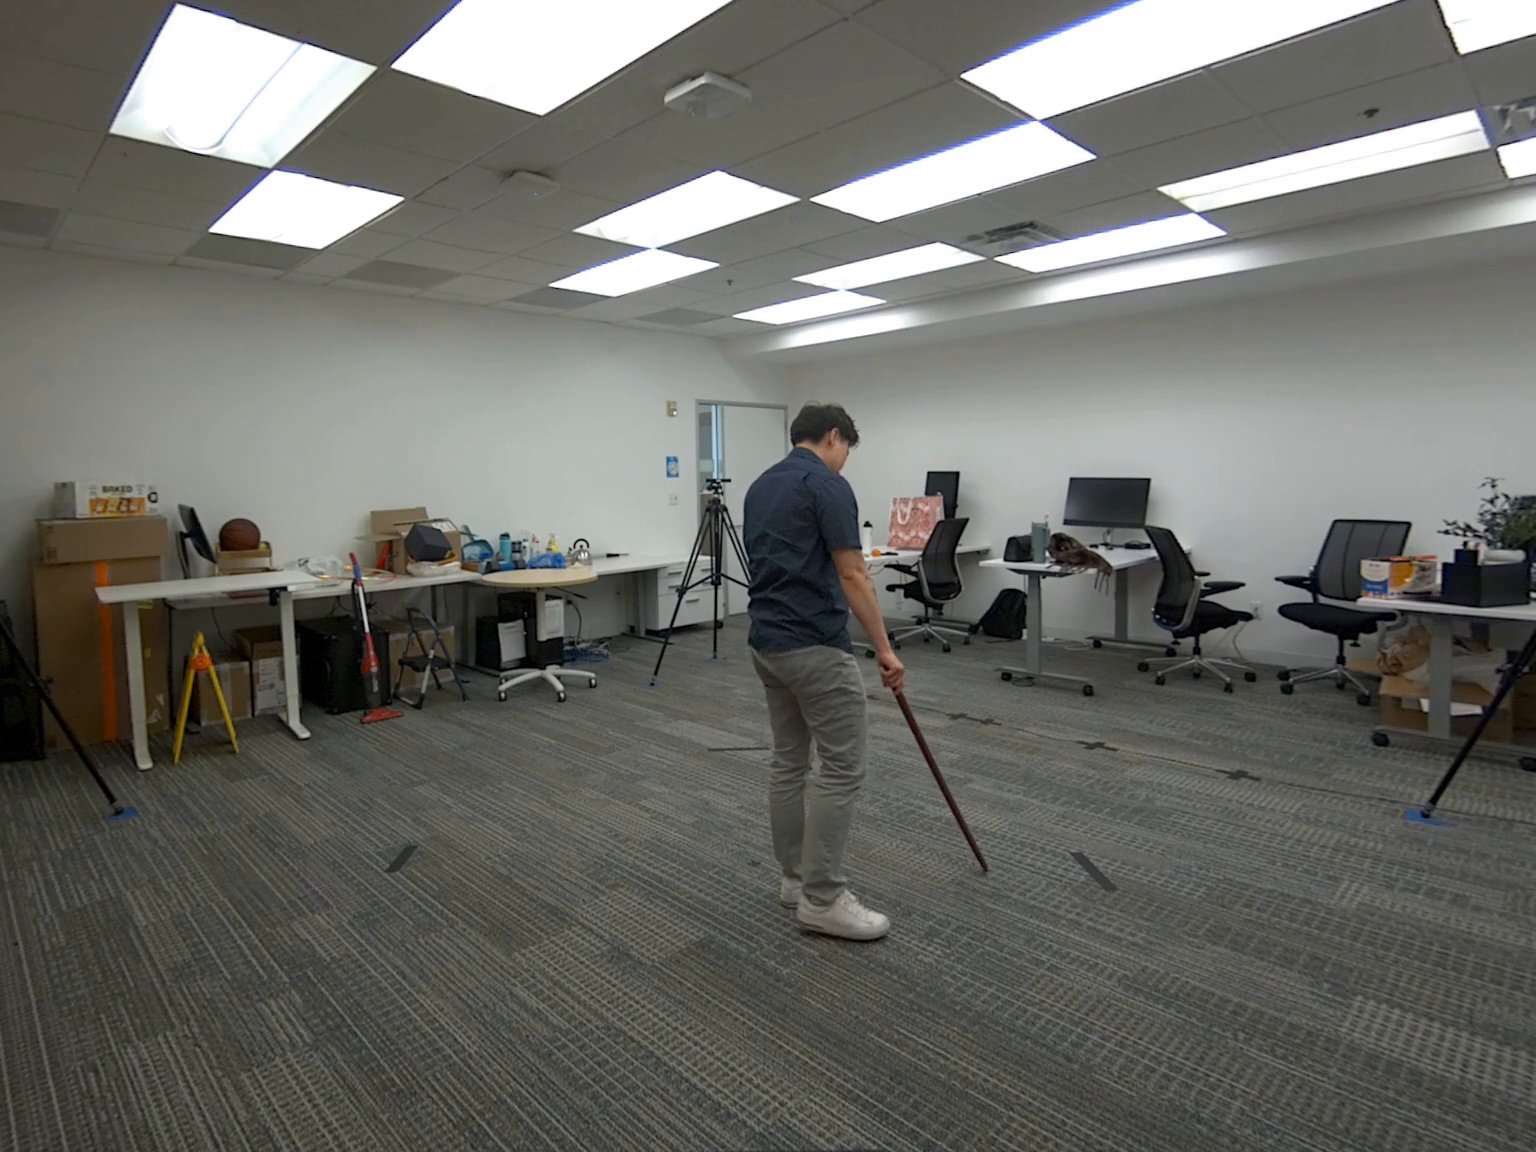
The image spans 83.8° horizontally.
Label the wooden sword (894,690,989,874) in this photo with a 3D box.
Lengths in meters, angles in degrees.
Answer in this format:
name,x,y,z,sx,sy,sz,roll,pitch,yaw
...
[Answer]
name,x,y,z,sx,sy,sz,roll,pitch,yaw
wooden sword,0.563,0.663,2.780,0.051,0.992,0.025,-32,29,-7
